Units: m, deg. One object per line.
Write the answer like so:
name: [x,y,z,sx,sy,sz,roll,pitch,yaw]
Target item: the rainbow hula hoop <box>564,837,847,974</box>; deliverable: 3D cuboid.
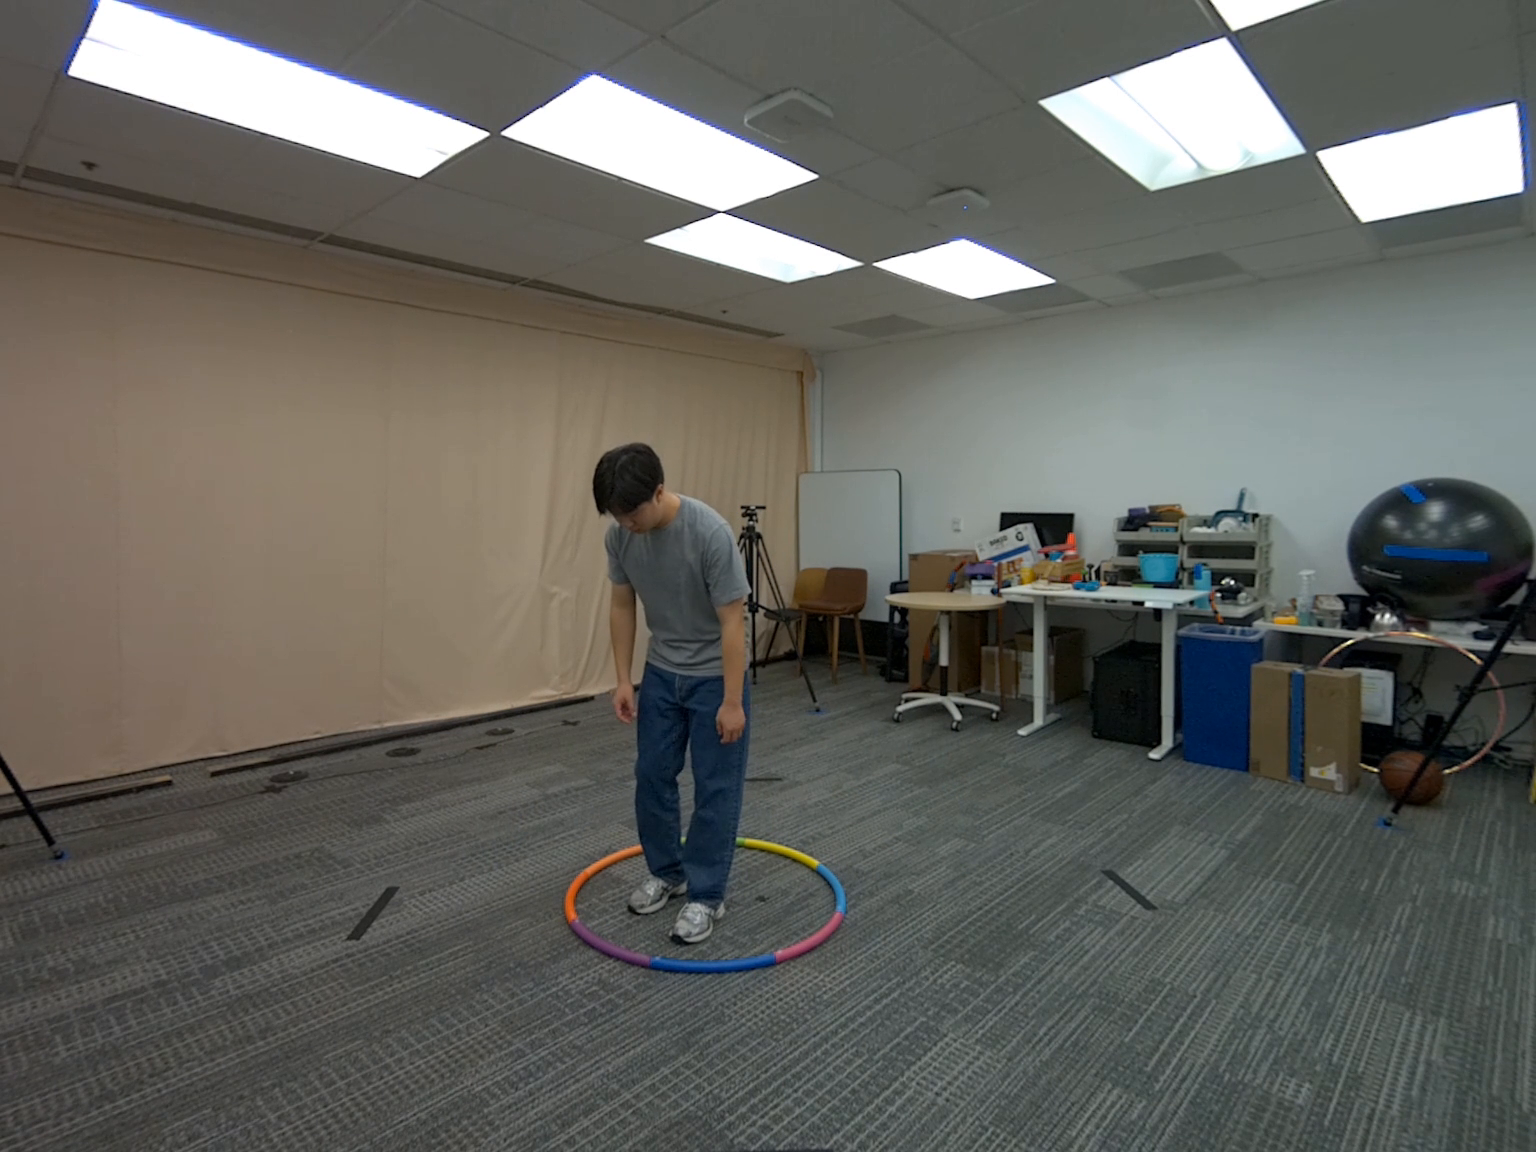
rainbow hula hoop: [-0.219,1.115,2.989,0.978,0.035,0.982,-1,5,-2]
